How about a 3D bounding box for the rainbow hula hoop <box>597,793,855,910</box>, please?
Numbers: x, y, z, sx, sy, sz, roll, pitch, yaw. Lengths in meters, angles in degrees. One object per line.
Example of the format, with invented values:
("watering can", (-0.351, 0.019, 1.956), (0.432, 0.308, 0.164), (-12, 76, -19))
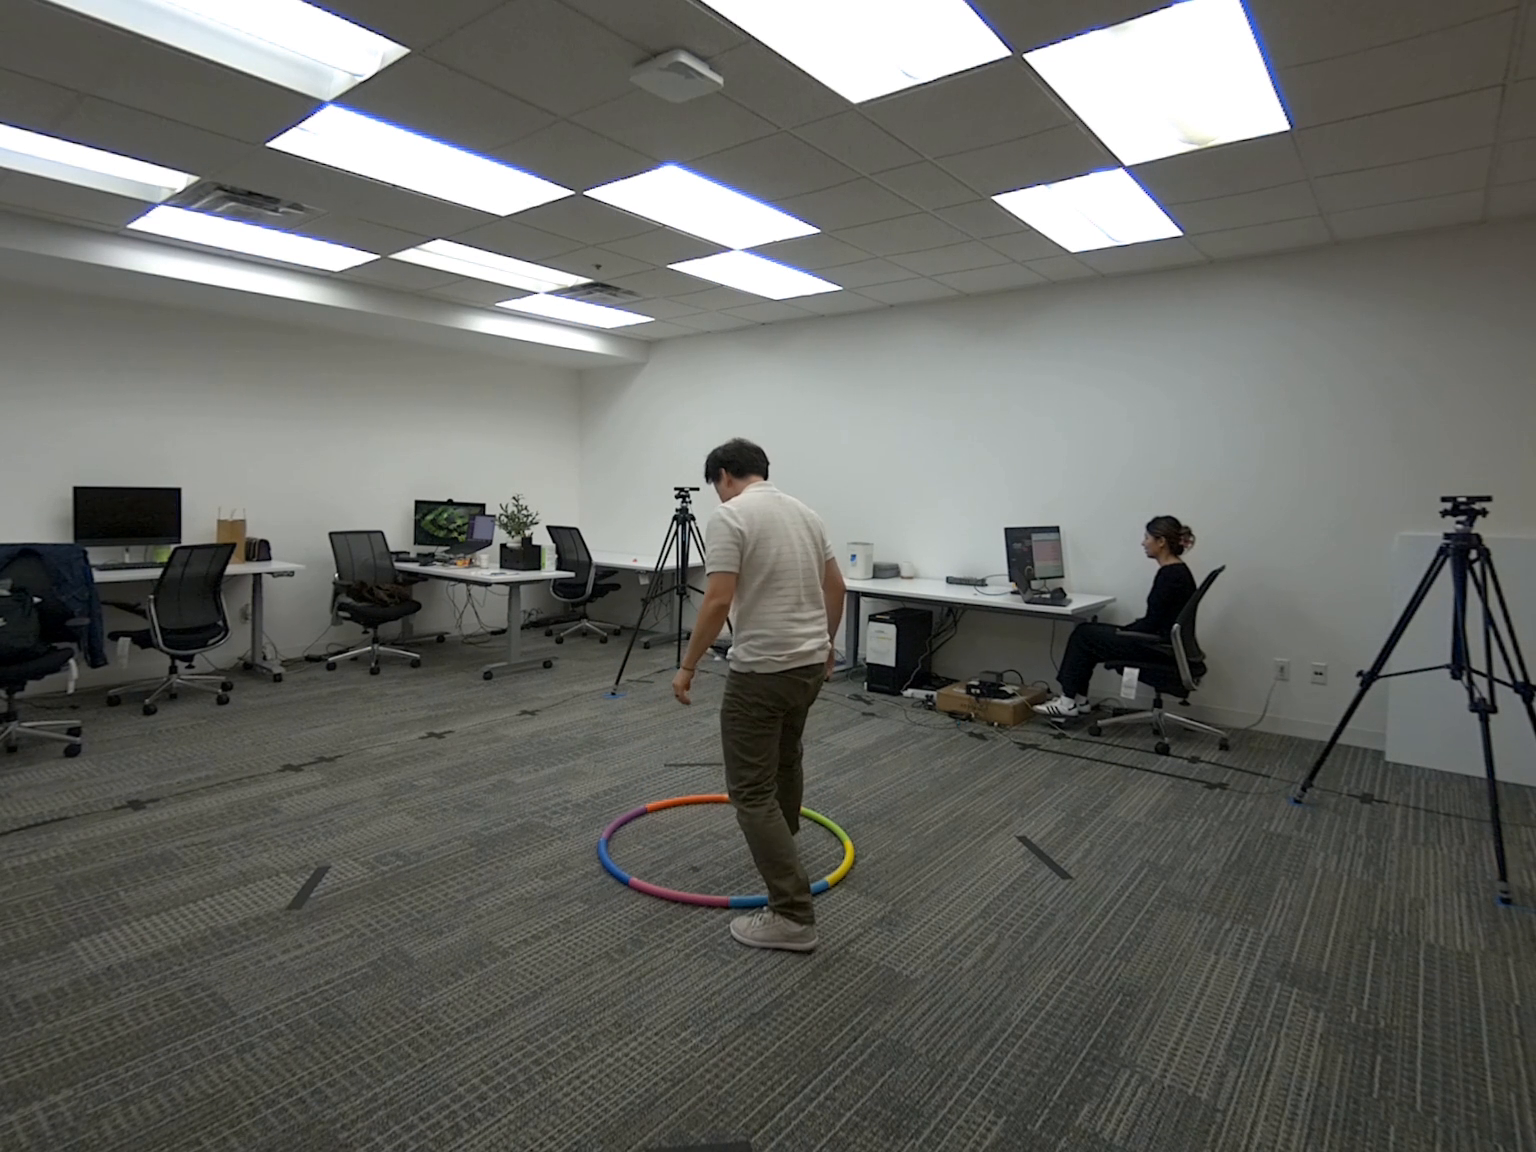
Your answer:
("rainbow hula hoop", (-0.175, 1.020, 3.296), (0.978, 0.035, 0.984), (0, 6, -2))
